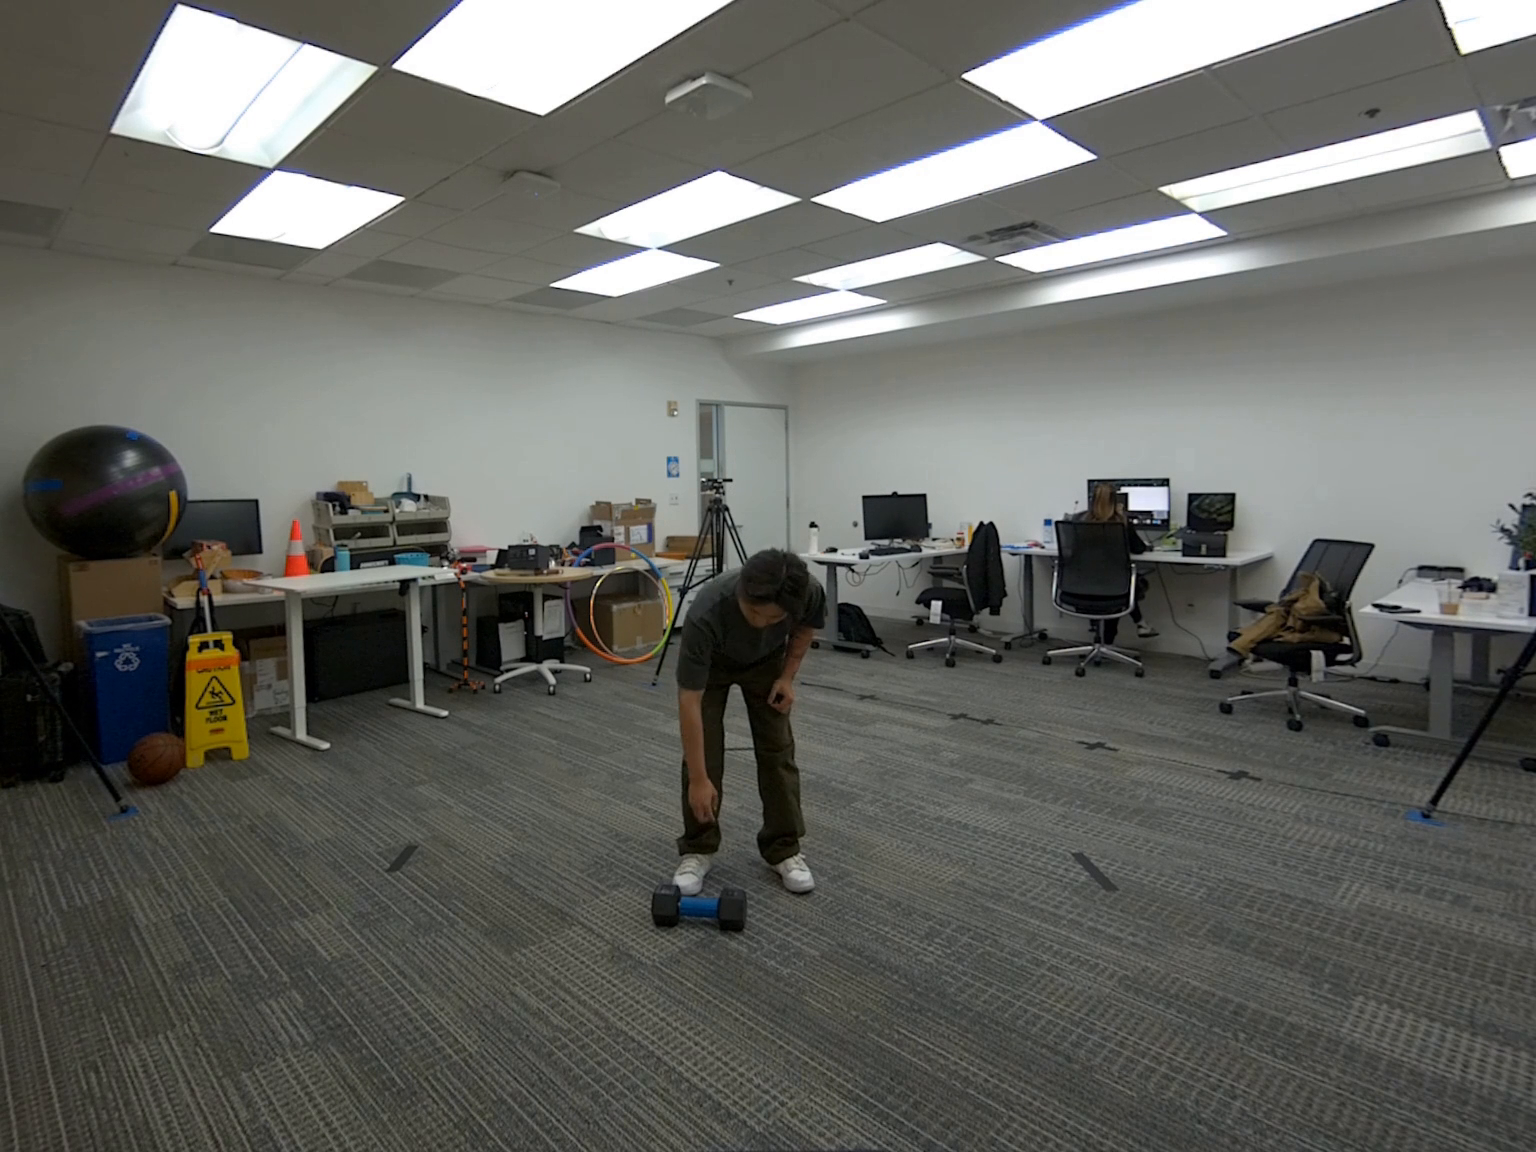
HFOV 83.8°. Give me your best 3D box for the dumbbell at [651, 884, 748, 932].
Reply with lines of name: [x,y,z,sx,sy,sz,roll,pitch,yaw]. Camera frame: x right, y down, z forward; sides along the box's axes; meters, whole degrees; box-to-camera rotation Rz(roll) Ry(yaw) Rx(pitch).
dumbbell: [-0.209,1.045,2.689,0.296,0.119,0.111,0,35,8]
